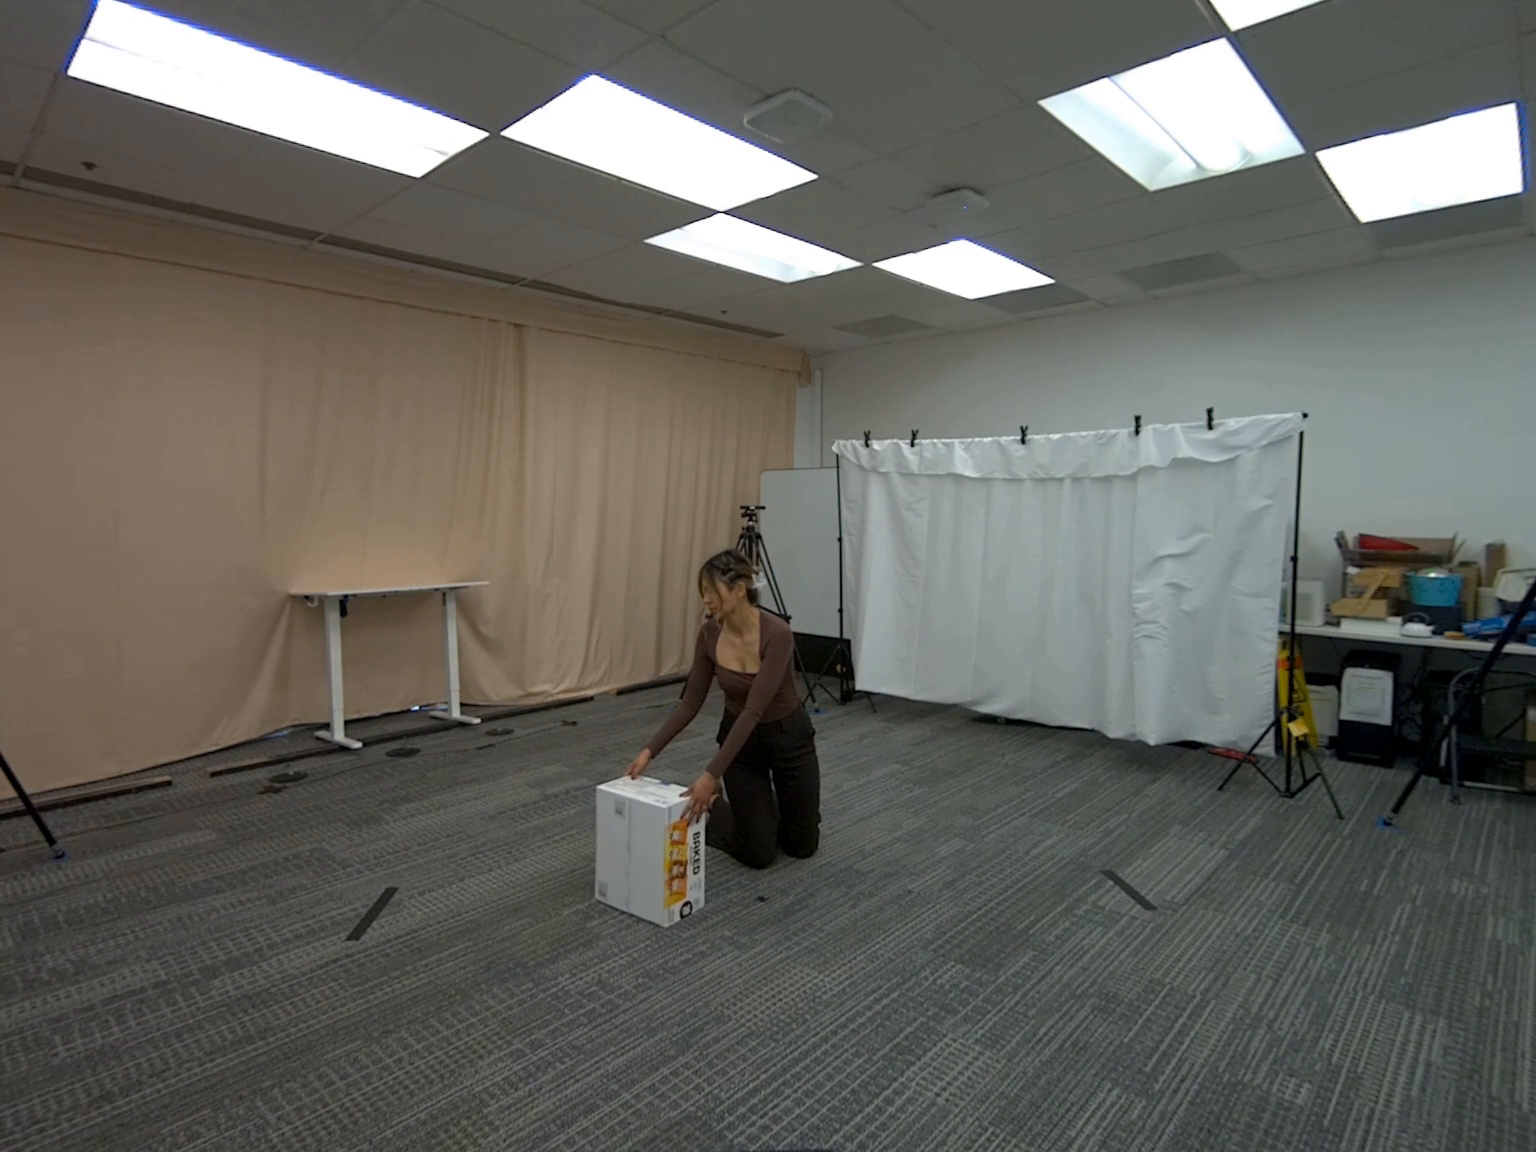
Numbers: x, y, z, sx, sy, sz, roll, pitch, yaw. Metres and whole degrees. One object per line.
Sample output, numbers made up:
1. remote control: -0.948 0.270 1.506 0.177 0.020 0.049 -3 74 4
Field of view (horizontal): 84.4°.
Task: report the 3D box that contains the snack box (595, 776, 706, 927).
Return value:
1. snack box: -0.416 0.949 2.946 0.351 0.404 0.199 2 3 37
